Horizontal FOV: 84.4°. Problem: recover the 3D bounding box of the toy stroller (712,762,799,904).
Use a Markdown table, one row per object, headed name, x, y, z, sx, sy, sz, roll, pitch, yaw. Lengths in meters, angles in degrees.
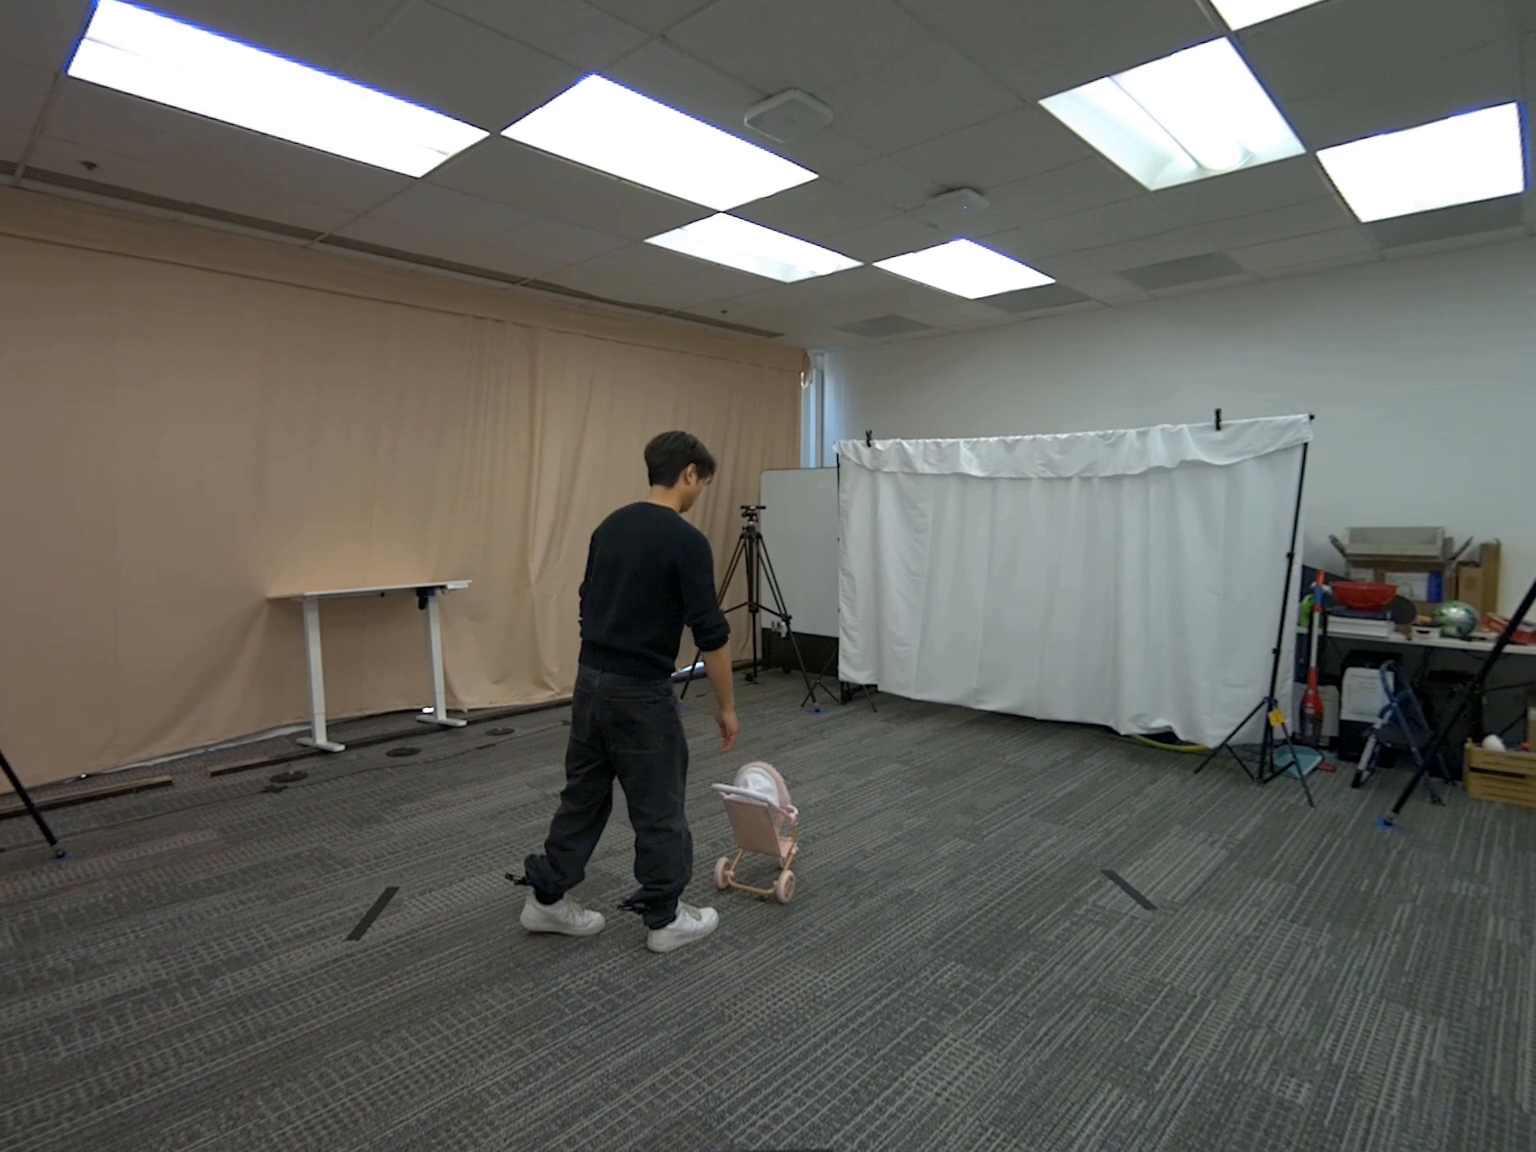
| name | x | y | z | sx | sy | sz | roll | pitch | yaw |
| --- | --- | --- | --- | --- | --- | --- | --- | --- | --- |
| toy stroller | -0.018 | 0.910 | 3.061 | 0.289 | 0.528 | 0.336 | 2 | 19 | 30 |
